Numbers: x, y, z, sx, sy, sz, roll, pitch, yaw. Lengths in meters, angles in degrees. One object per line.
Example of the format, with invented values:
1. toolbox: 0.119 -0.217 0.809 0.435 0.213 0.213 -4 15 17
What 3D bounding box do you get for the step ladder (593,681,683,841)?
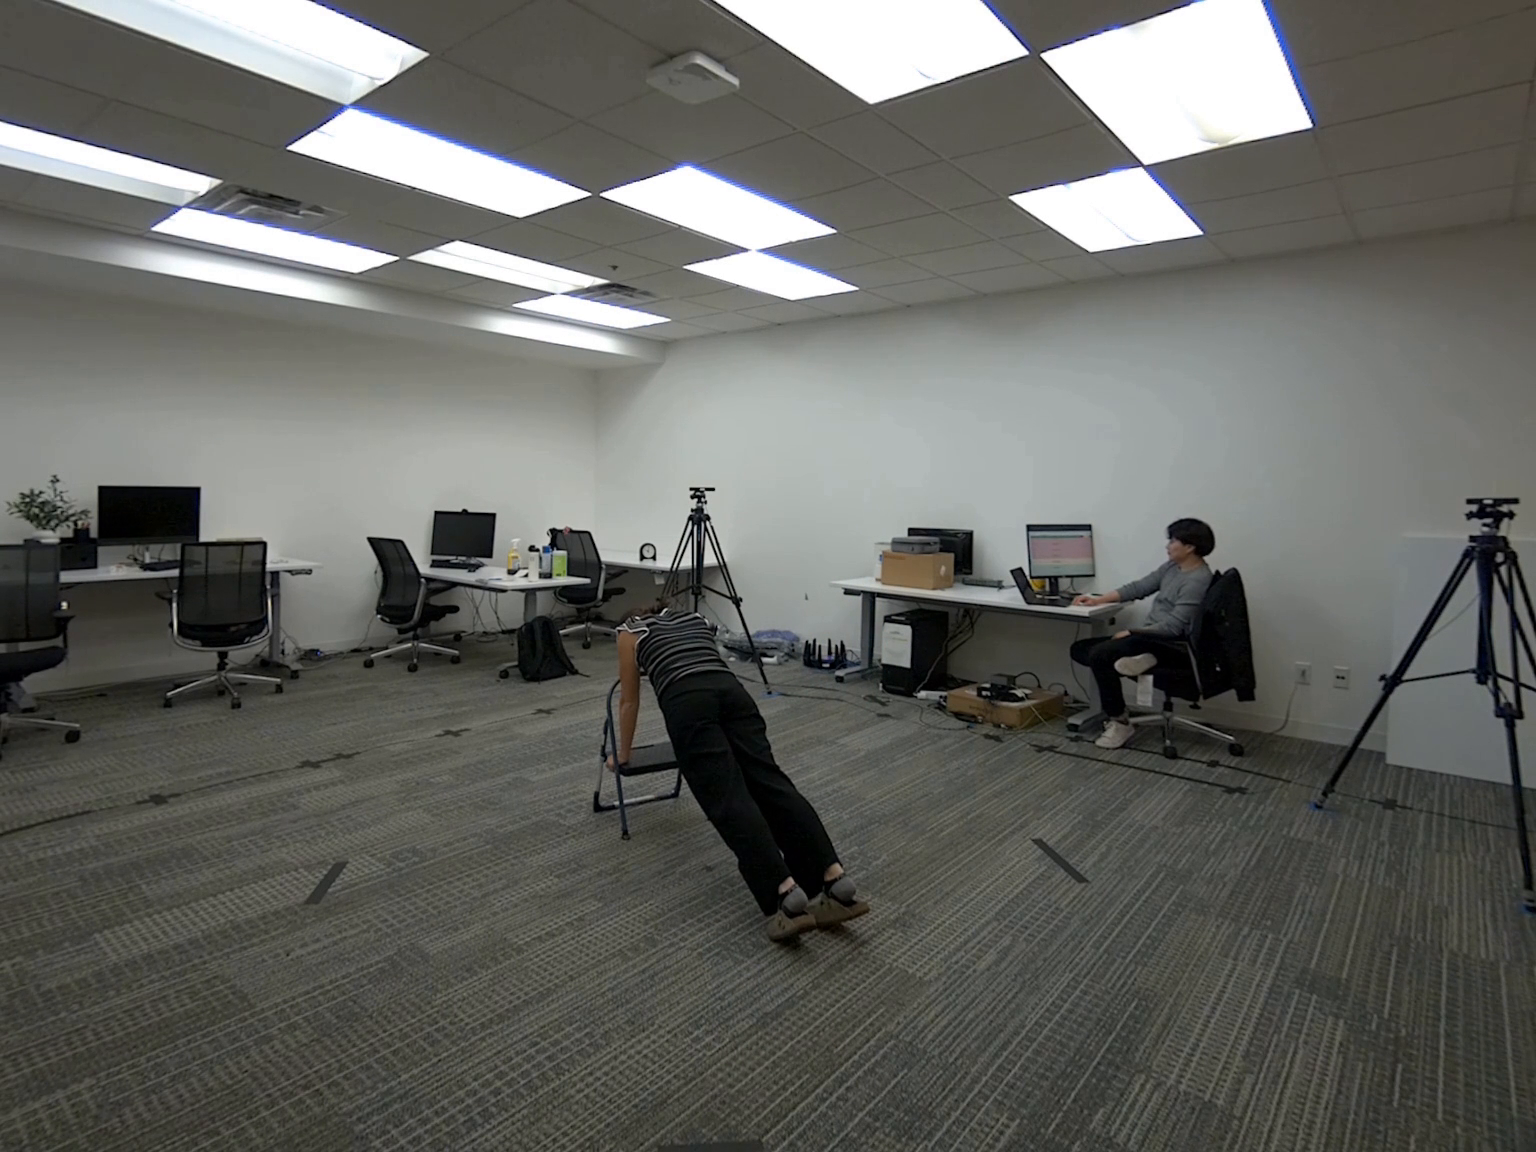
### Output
1. step ladder: -0.495 0.714 3.593 0.418 0.605 0.360 -1 3 -33
